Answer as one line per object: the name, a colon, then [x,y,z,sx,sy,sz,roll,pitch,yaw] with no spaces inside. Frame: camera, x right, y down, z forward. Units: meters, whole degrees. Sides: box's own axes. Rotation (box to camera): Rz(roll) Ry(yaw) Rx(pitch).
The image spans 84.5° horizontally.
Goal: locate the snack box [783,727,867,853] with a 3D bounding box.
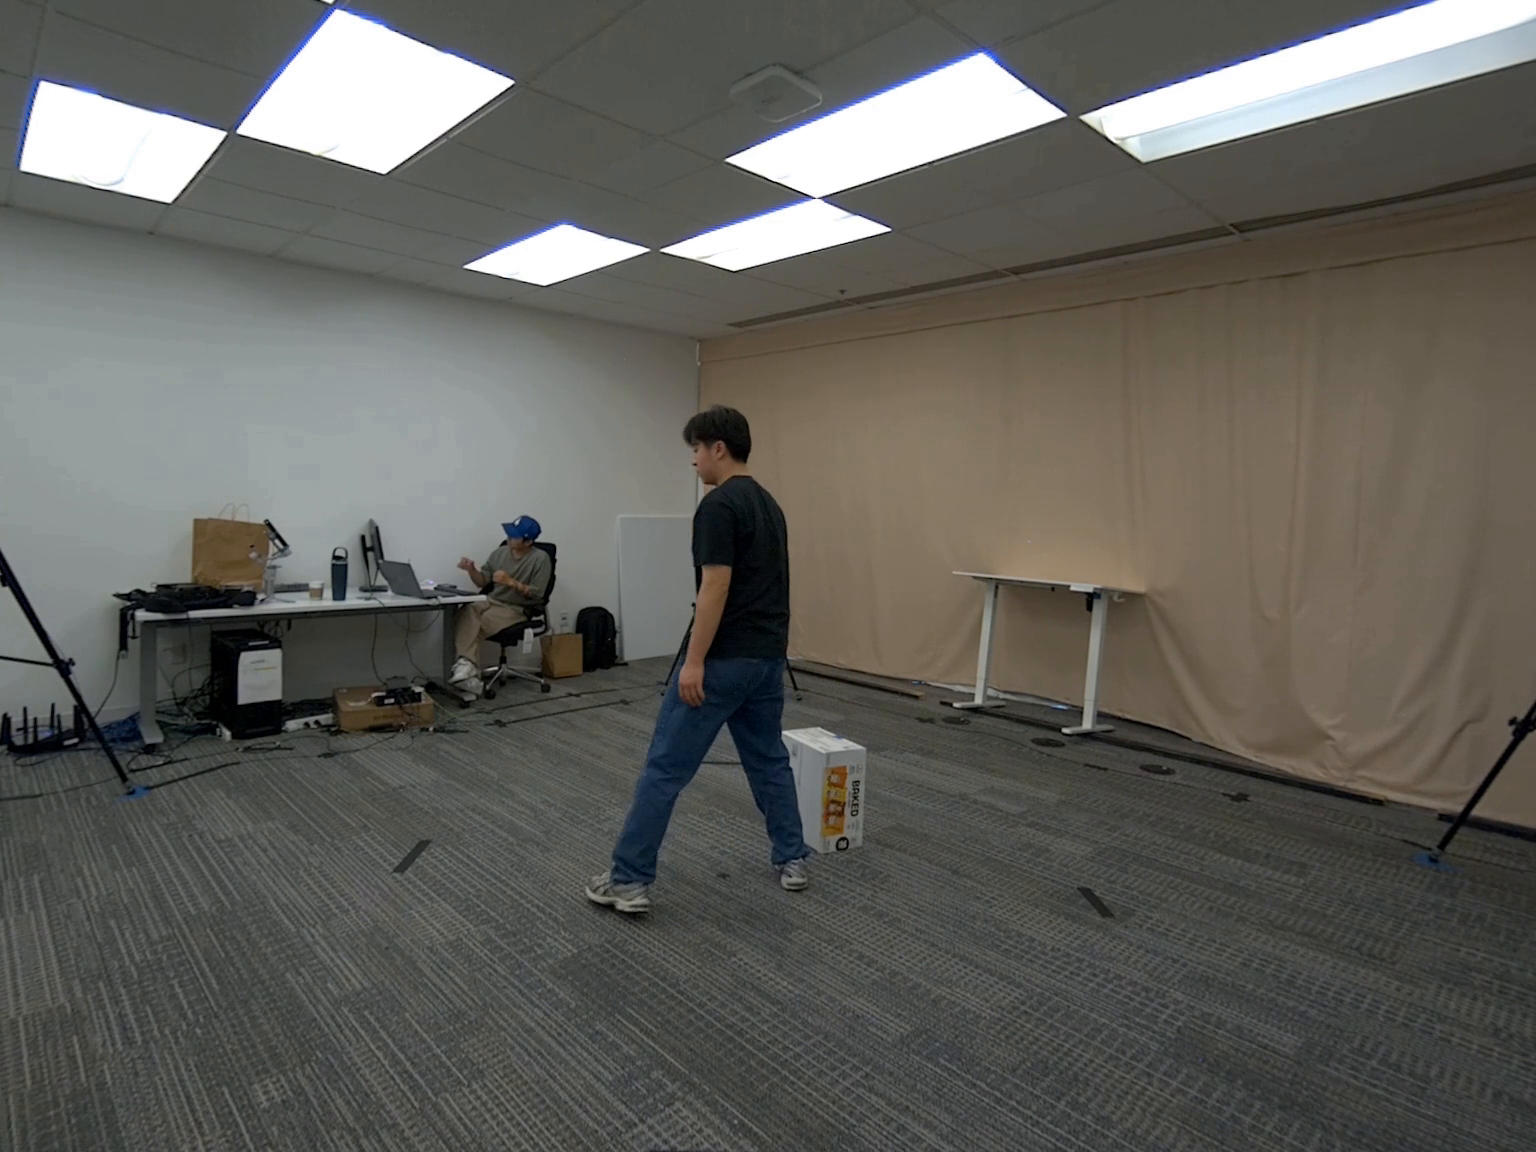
snack box: [0.215,0.875,3.495,0.201,0.404,0.348,0,4,-30]
